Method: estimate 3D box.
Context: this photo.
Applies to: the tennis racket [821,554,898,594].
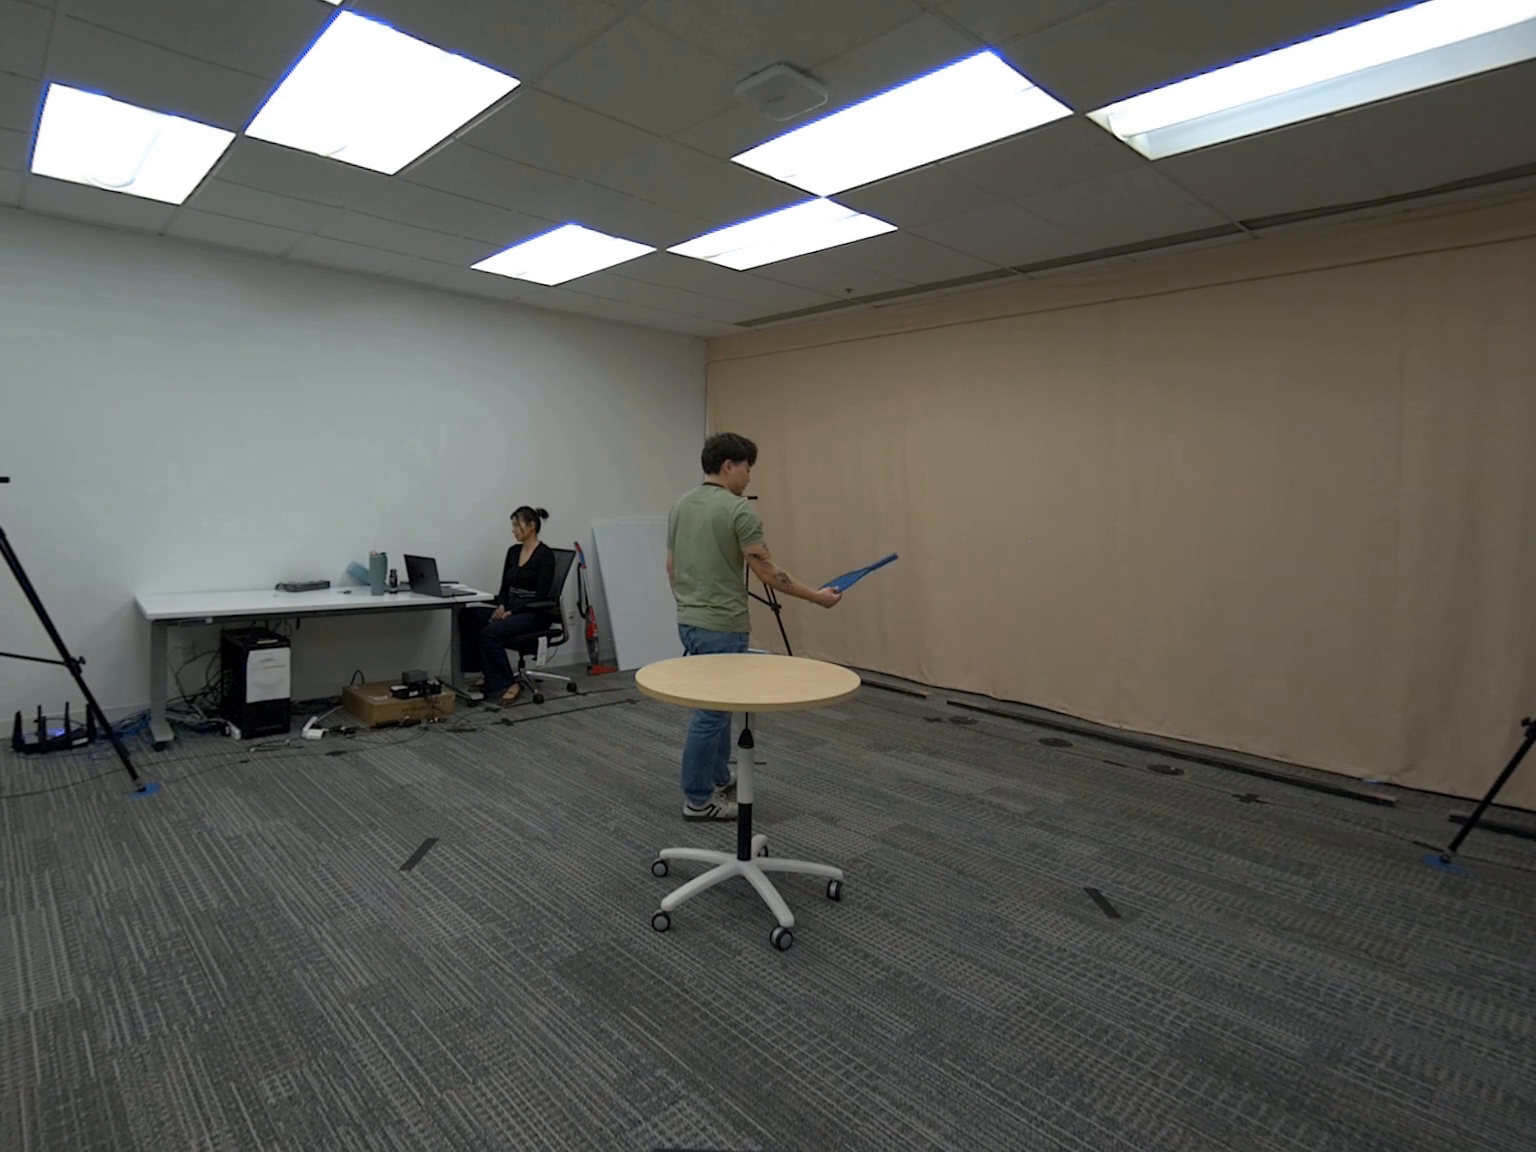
[{"bbox_3d":[0.361,0.019,3.636,0.434,0.031,0.215,-28,12,6],"label":"tennis racket"}]
